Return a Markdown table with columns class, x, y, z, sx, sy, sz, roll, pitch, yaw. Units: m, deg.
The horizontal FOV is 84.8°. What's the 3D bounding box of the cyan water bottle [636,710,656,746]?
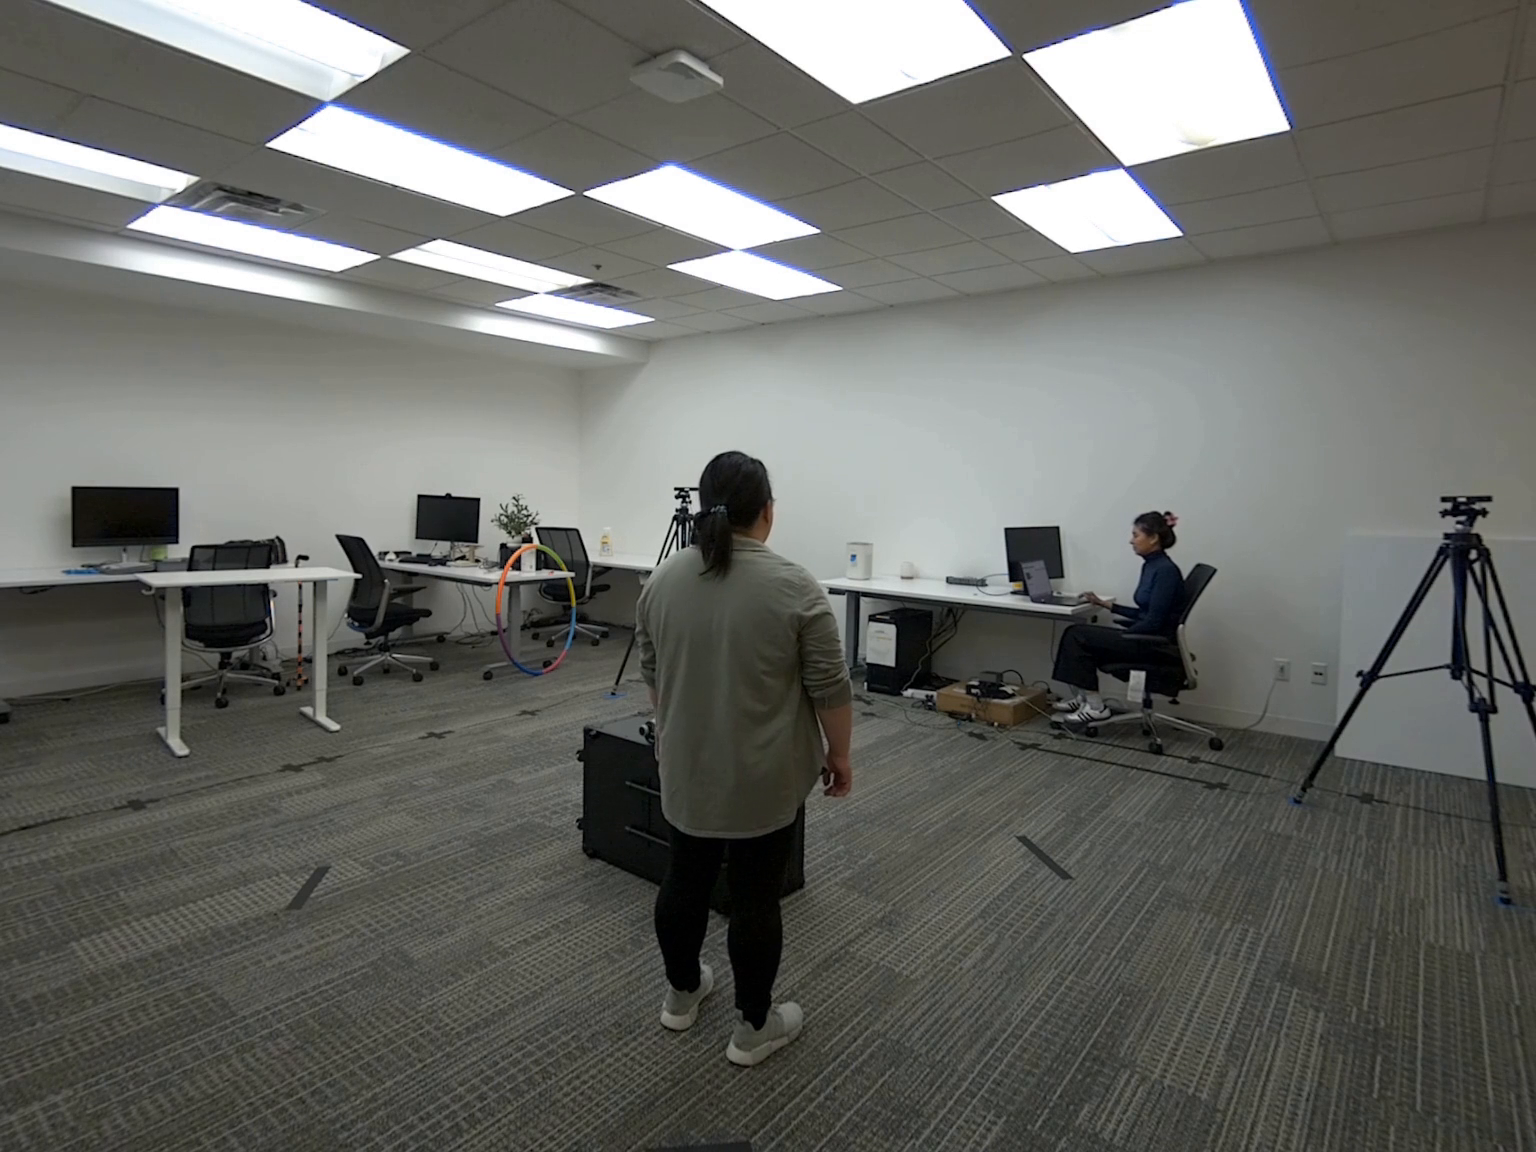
| class | x | y | z | sx | sy | sz | roll | pitch | yaw |
| --- | --- | --- | --- | --- | --- | --- | --- | --- | --- |
| cyan water bottle | -0.346 | 0.534 | 3.074 | 0.095 | 0.092 | 0.275 | 4 | 6 | 39 |
